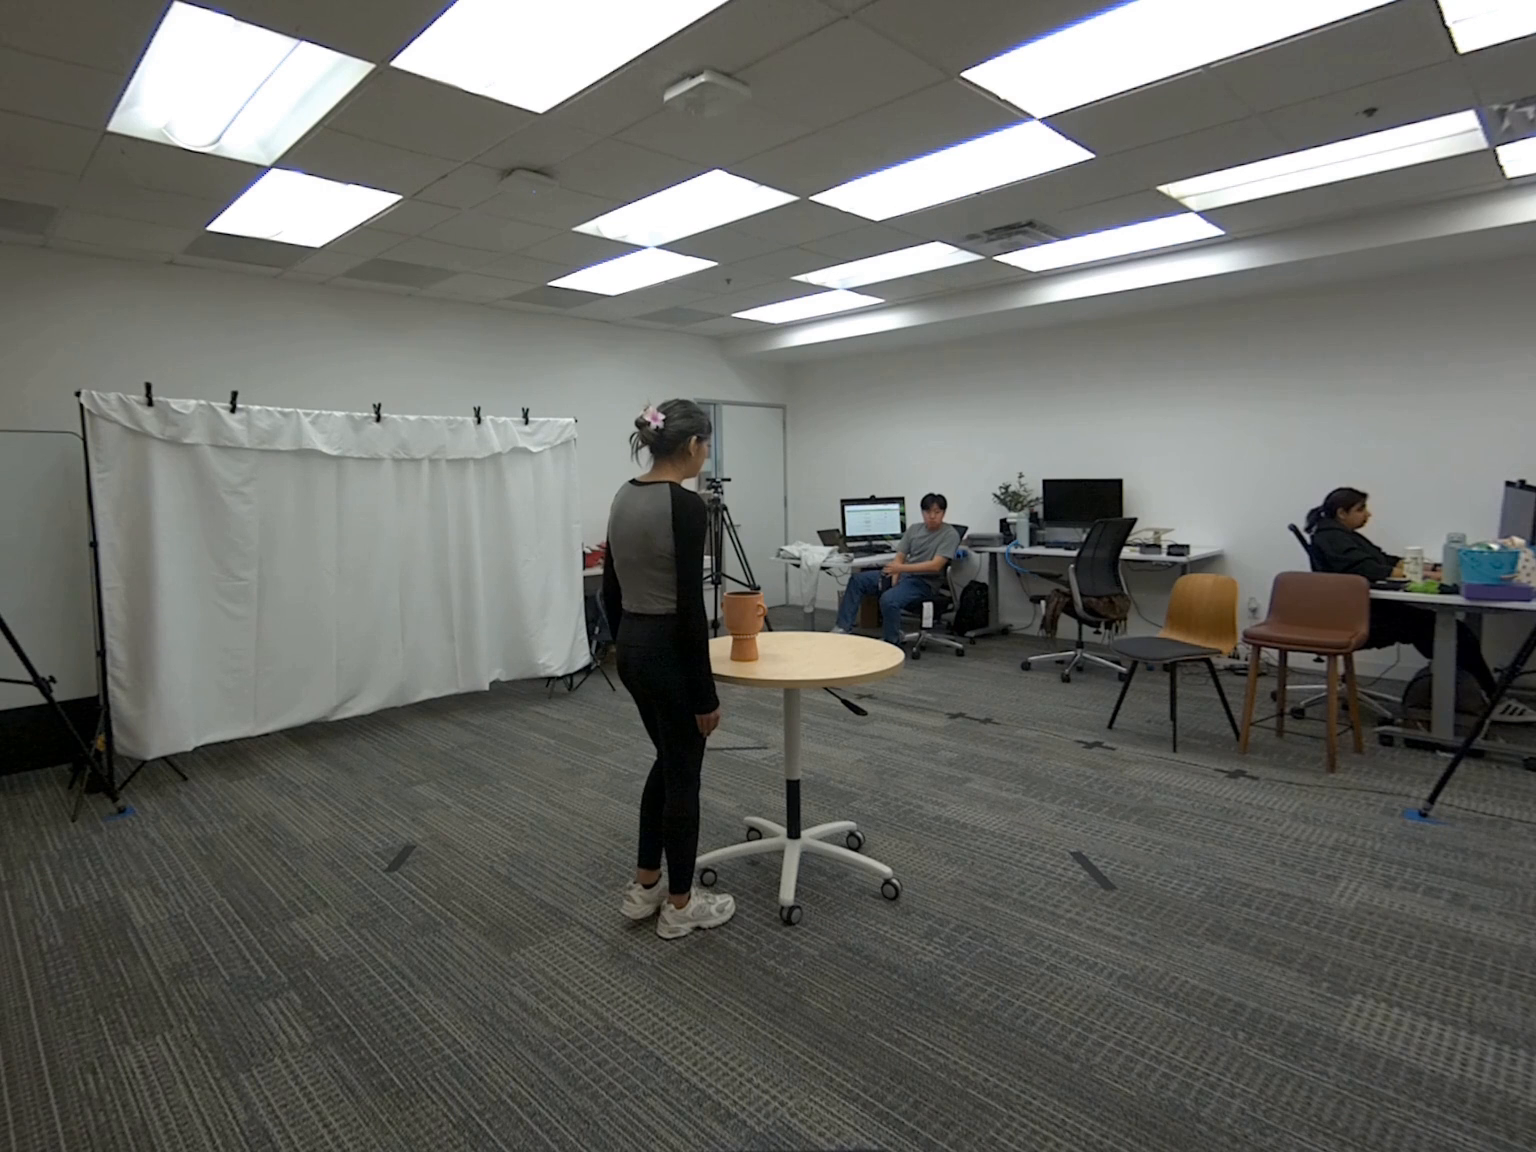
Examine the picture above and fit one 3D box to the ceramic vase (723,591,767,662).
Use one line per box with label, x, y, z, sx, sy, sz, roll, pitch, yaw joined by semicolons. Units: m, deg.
ceramic vase;-0.077;0.170;2.857;0.133;0.219;0.161;-1;5;-12
